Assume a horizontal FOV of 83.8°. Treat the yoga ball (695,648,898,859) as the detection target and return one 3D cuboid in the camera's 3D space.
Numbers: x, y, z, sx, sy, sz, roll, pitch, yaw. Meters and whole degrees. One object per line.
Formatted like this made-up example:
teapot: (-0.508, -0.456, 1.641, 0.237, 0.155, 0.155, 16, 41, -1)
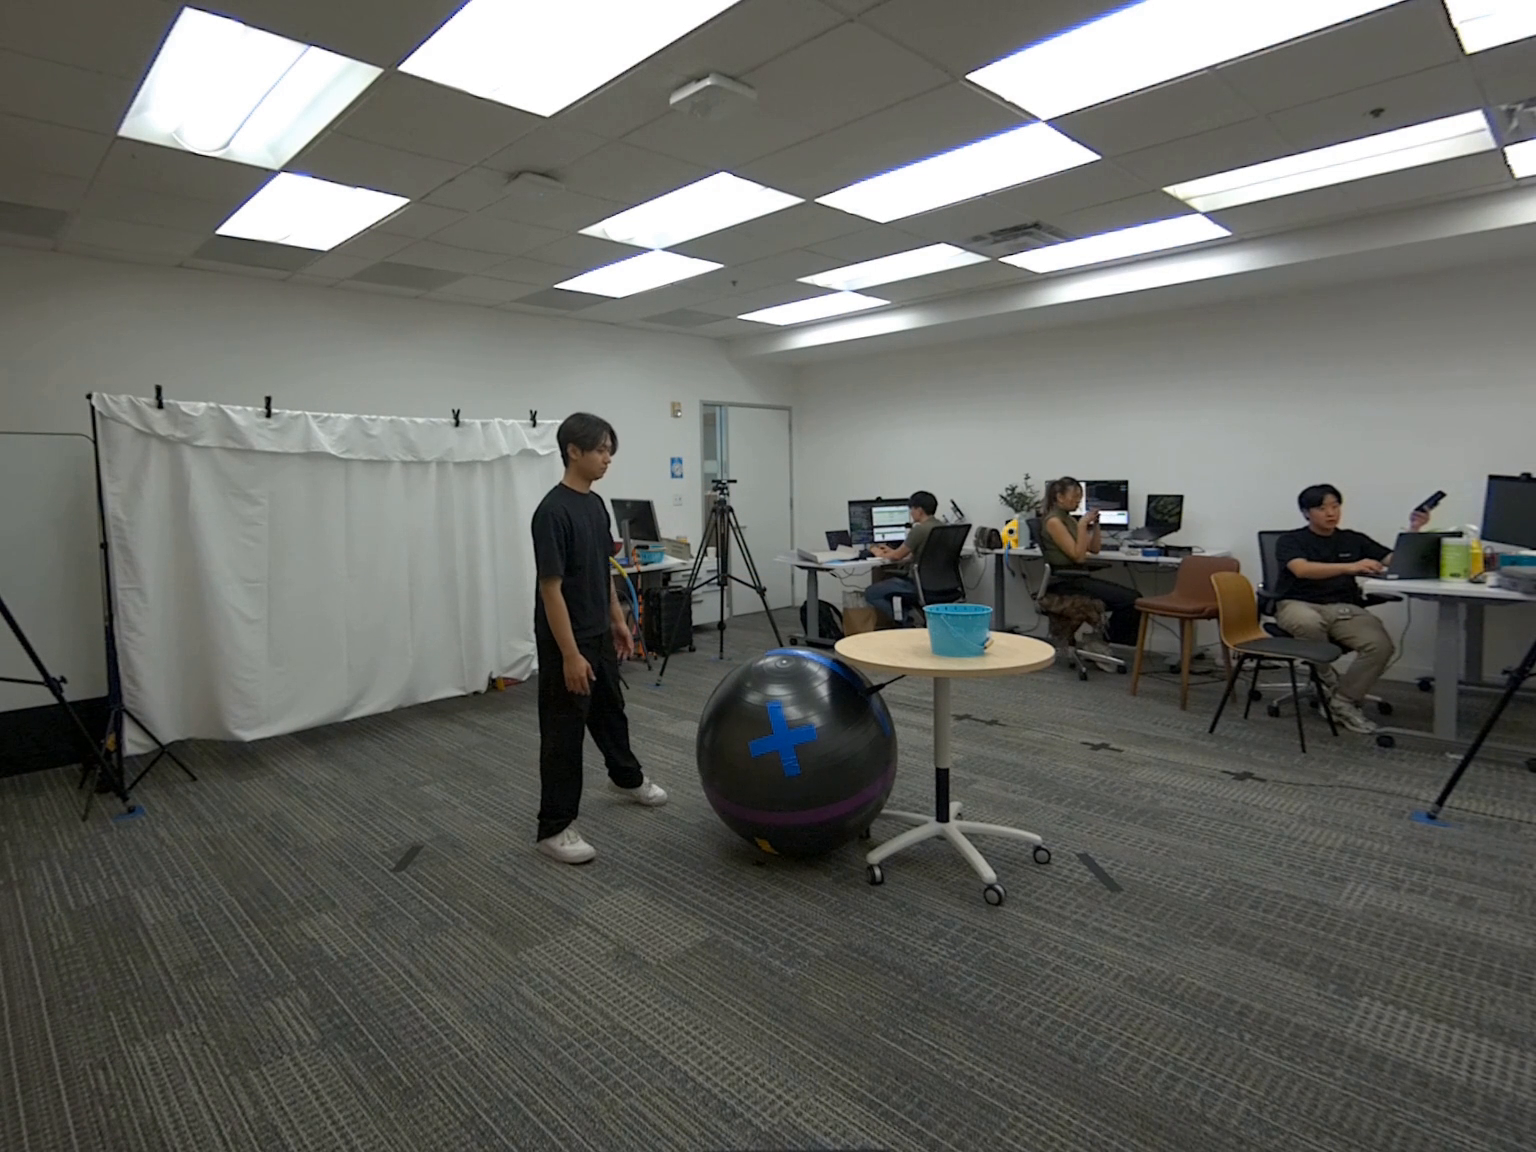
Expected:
yoga ball: (0.110, 0.656, 3.227, 0.757, 0.755, 0.762, -1, 5, -2)
